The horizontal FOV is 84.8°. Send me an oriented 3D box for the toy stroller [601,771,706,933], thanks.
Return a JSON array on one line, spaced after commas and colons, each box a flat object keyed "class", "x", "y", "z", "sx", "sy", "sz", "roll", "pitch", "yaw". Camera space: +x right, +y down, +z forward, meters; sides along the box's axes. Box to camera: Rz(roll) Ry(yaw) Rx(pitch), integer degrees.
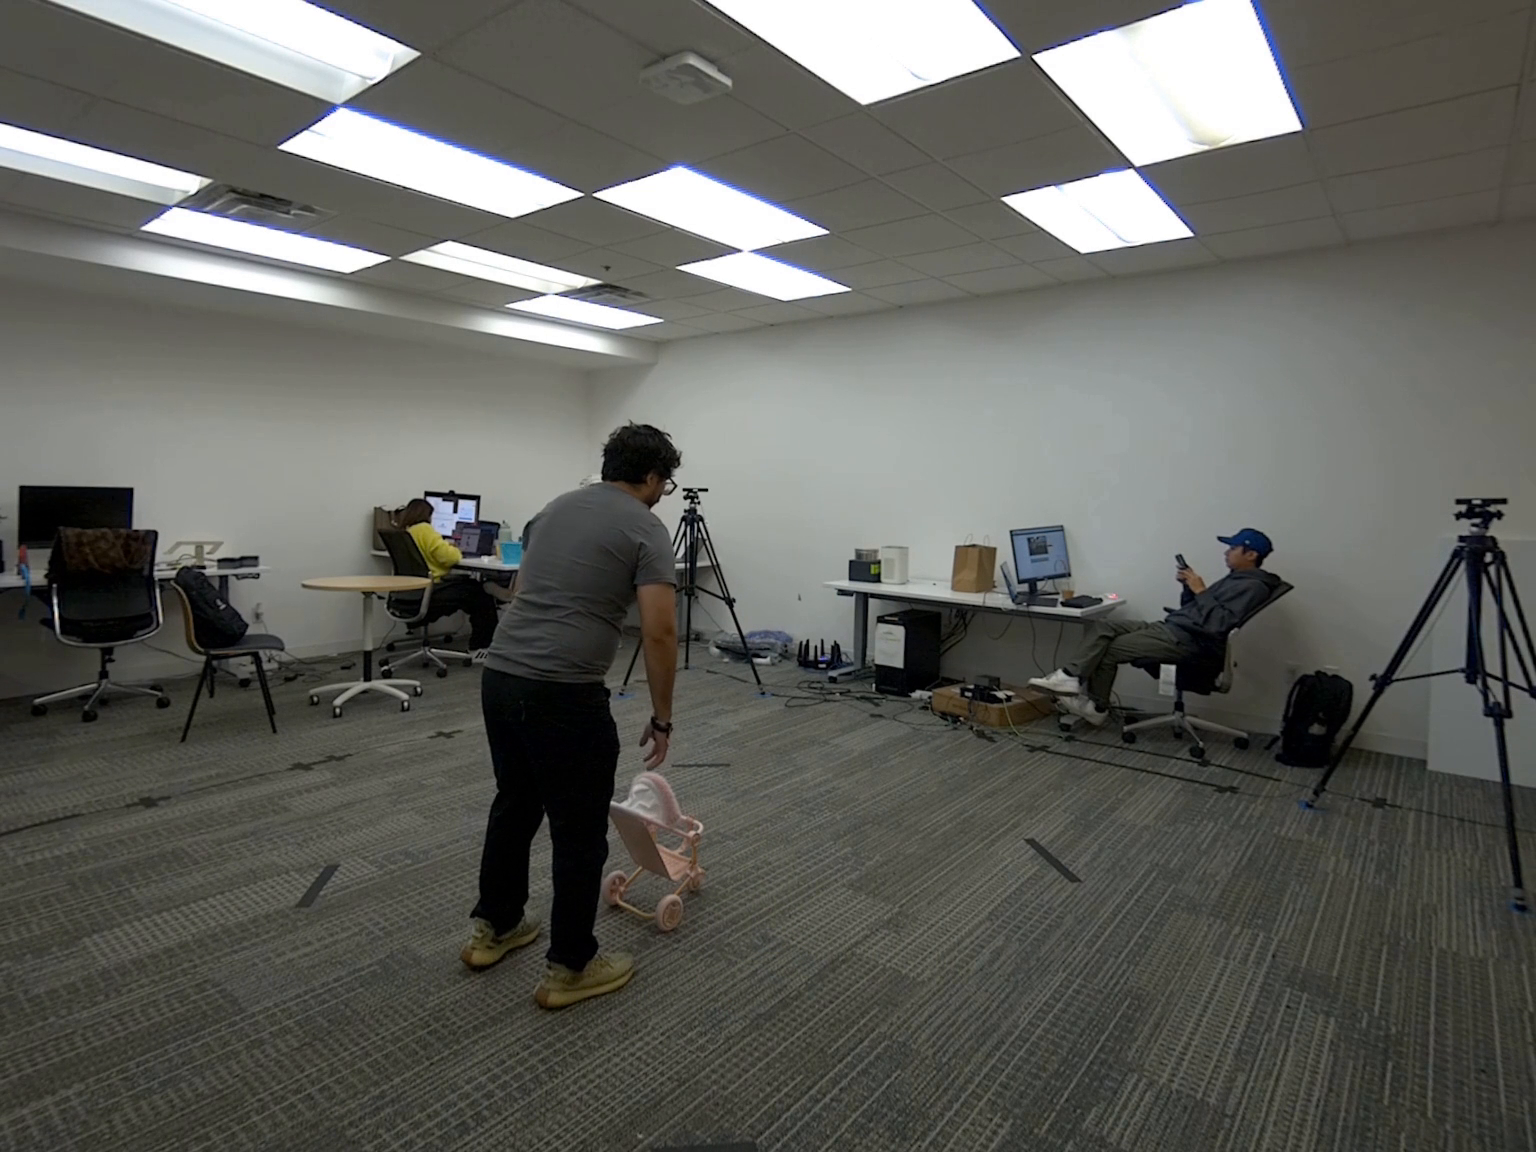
[{"class": "toy stroller", "x": -0.375, "y": 0.875, "z": 2.786, "sx": 0.291, "sy": 0.526, "sz": 0.335, "roll": 5, "pitch": 21, "yaw": 43}]
